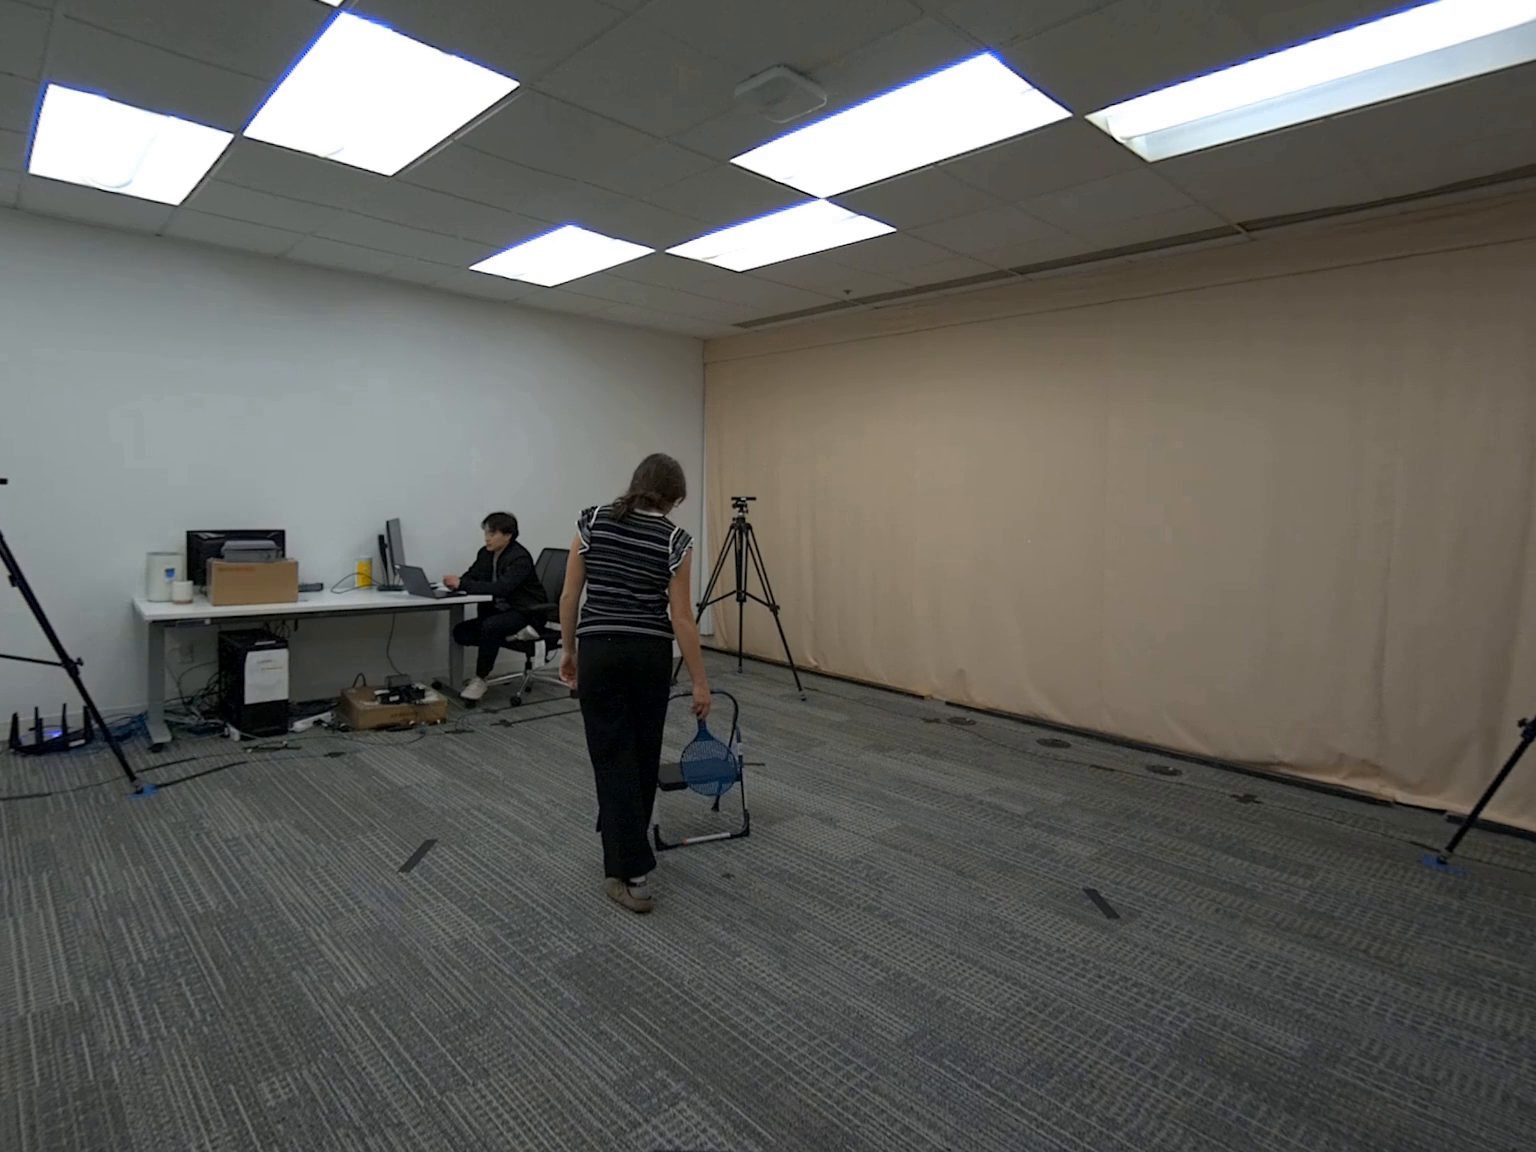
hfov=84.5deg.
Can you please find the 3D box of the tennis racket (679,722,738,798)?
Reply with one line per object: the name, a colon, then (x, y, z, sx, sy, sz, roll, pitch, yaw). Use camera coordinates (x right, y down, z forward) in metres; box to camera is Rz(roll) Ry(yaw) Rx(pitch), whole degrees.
tennis racket: (-0.248, 0.638, 3.118, 0.213, 0.425, 0.032, -4, 24, -5)
